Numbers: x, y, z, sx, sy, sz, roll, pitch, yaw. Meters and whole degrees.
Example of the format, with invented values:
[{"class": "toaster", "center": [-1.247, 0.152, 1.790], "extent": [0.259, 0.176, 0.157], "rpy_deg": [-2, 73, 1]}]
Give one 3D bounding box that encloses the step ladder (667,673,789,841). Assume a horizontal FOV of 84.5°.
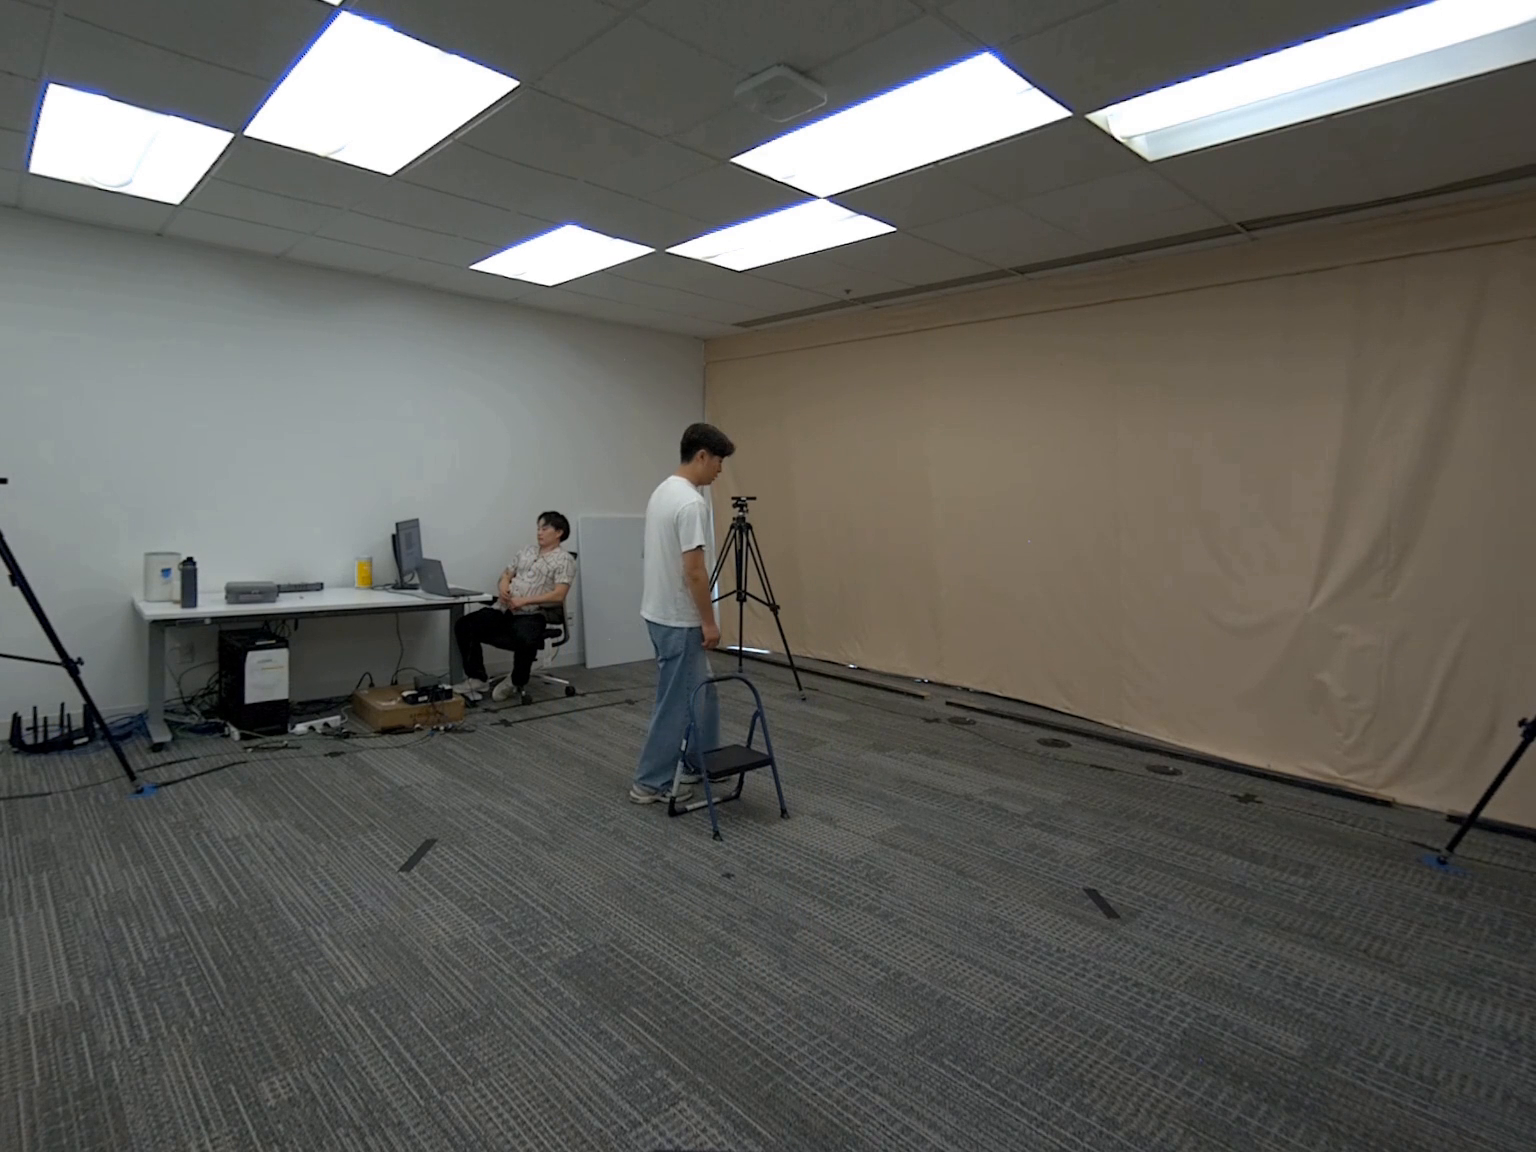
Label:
[{"class": "step ladder", "center": [-0.173, 0.752, 3.670], "extent": [0.421, 0.604, 0.358], "rpy_deg": [-2, 5, -44]}]
